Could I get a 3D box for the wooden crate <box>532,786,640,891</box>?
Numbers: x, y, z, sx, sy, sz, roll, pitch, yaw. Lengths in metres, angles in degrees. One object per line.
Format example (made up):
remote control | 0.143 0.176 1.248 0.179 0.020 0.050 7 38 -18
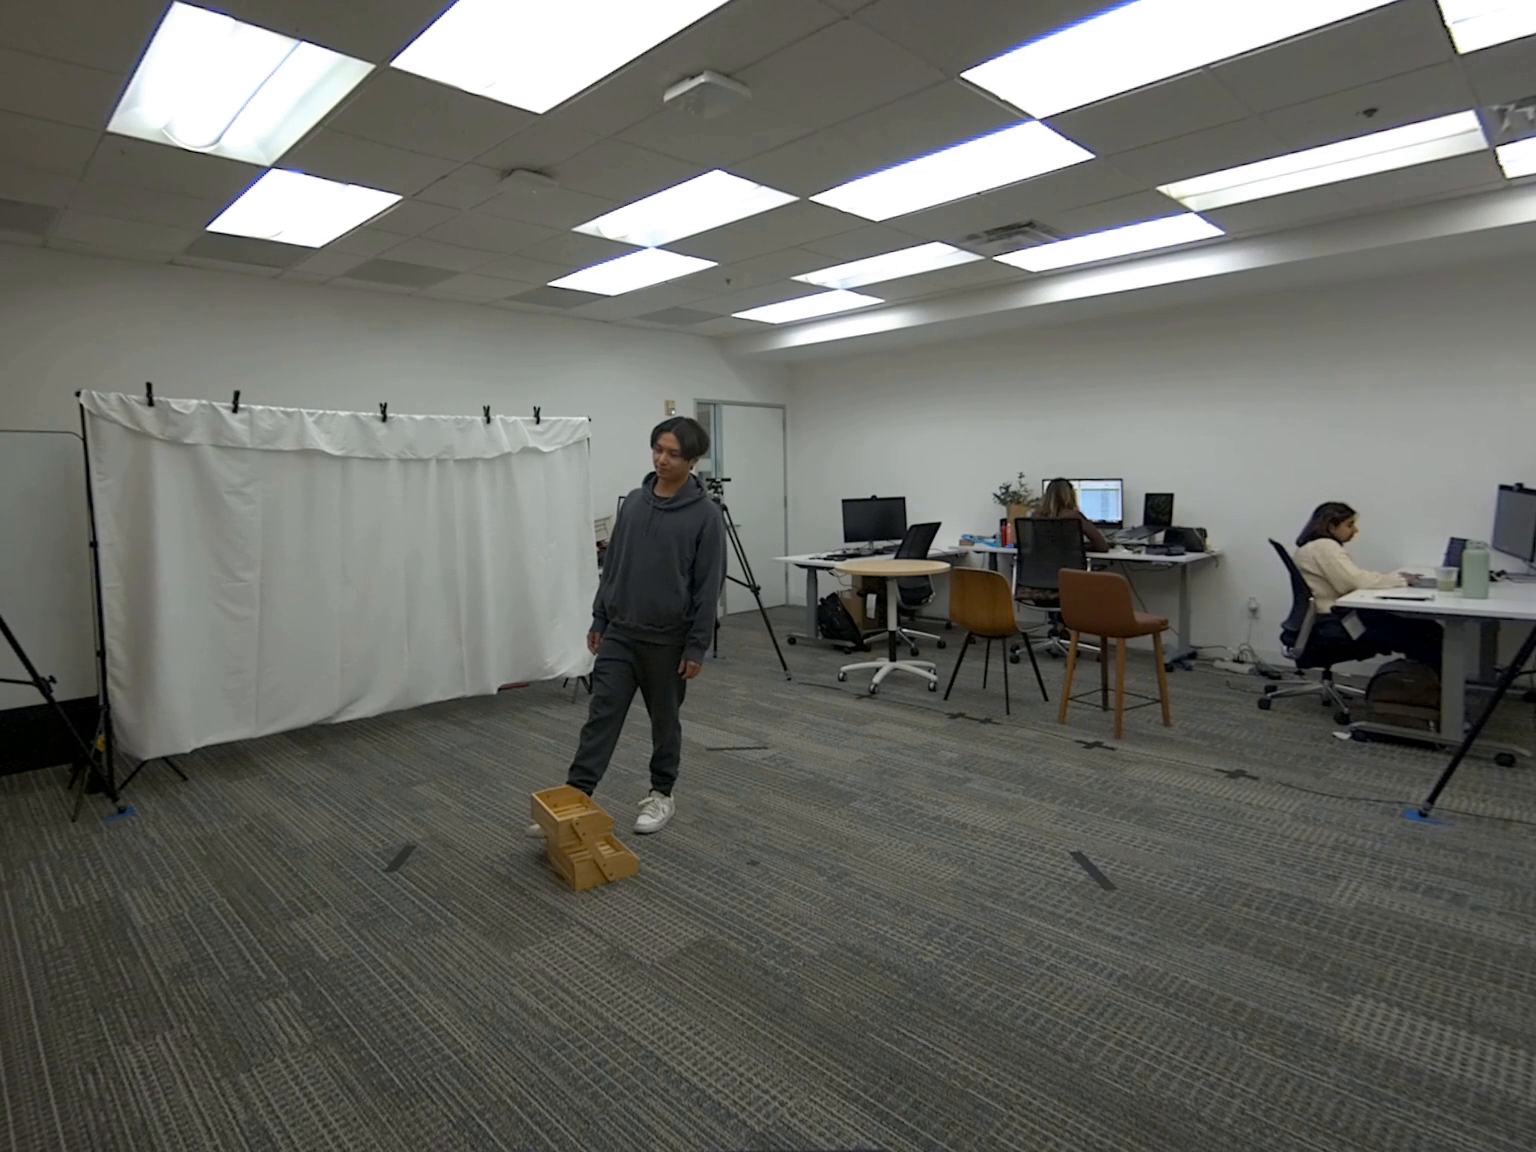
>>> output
wooden crate | -0.655 0.920 3.084 0.295 0.272 0.334 -6 7 -31
